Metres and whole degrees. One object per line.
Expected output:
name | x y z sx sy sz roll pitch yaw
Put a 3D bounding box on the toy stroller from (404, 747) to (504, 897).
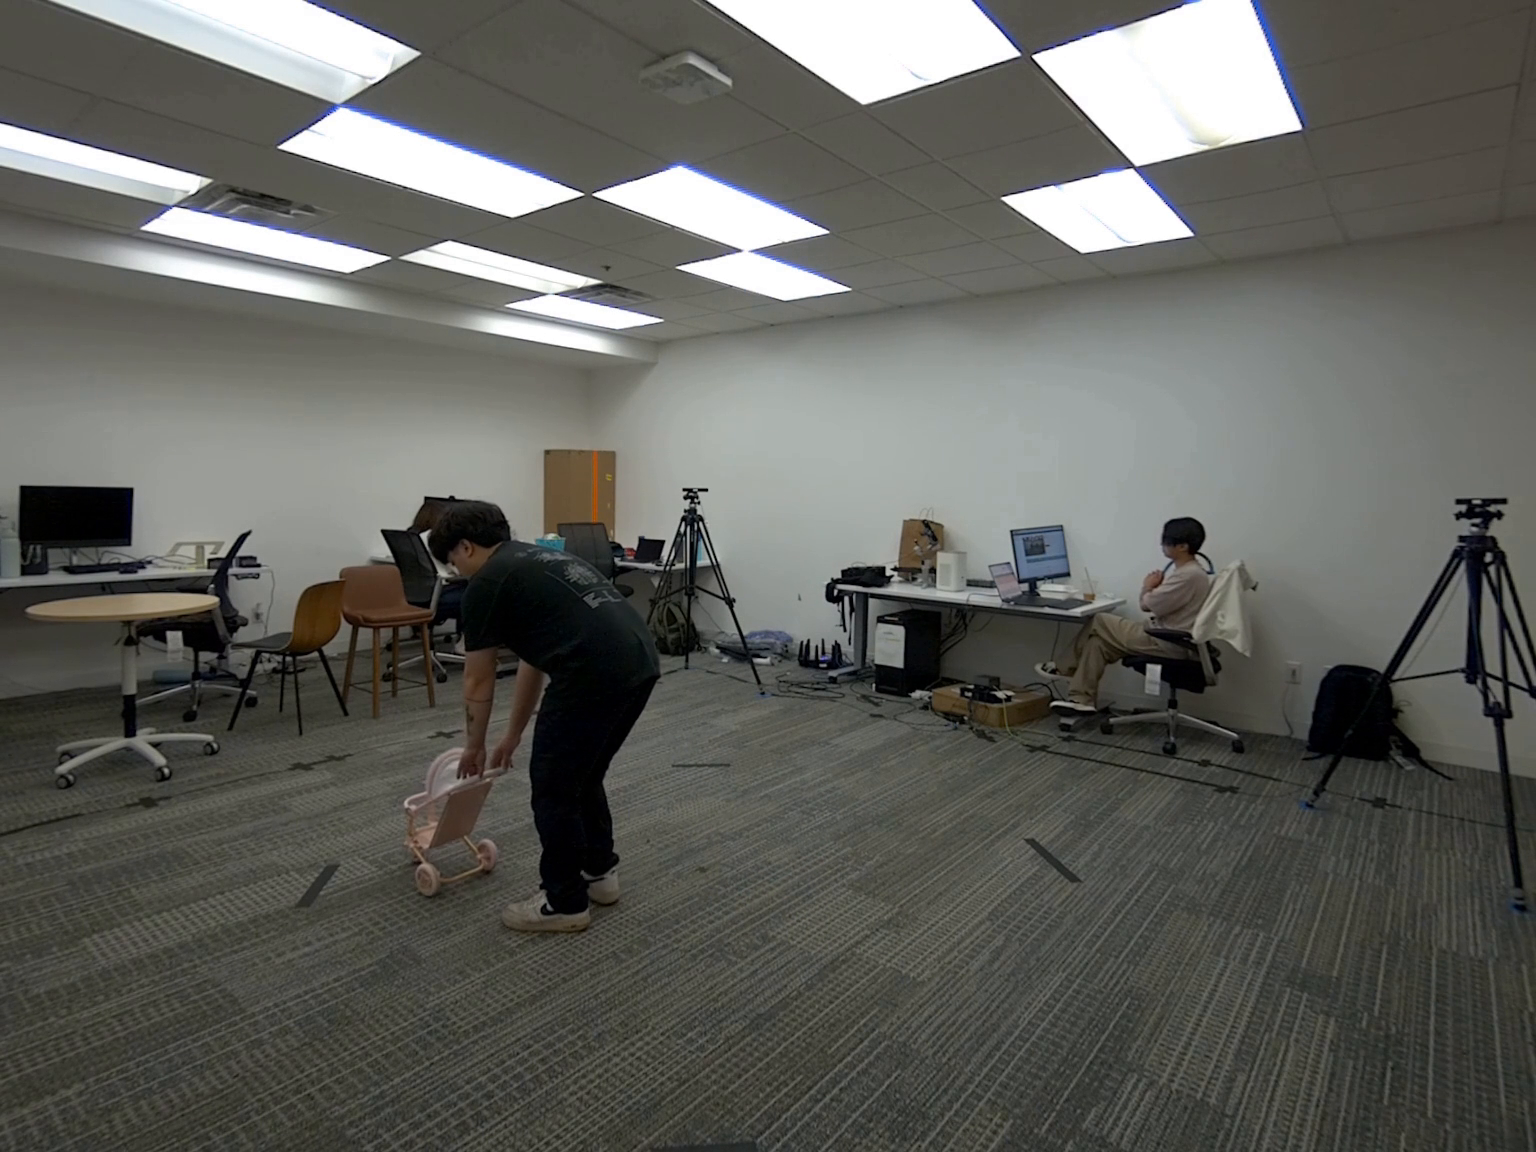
toy stroller | -1.141 0.842 2.998 0.355 0.530 0.273 25 17 36
